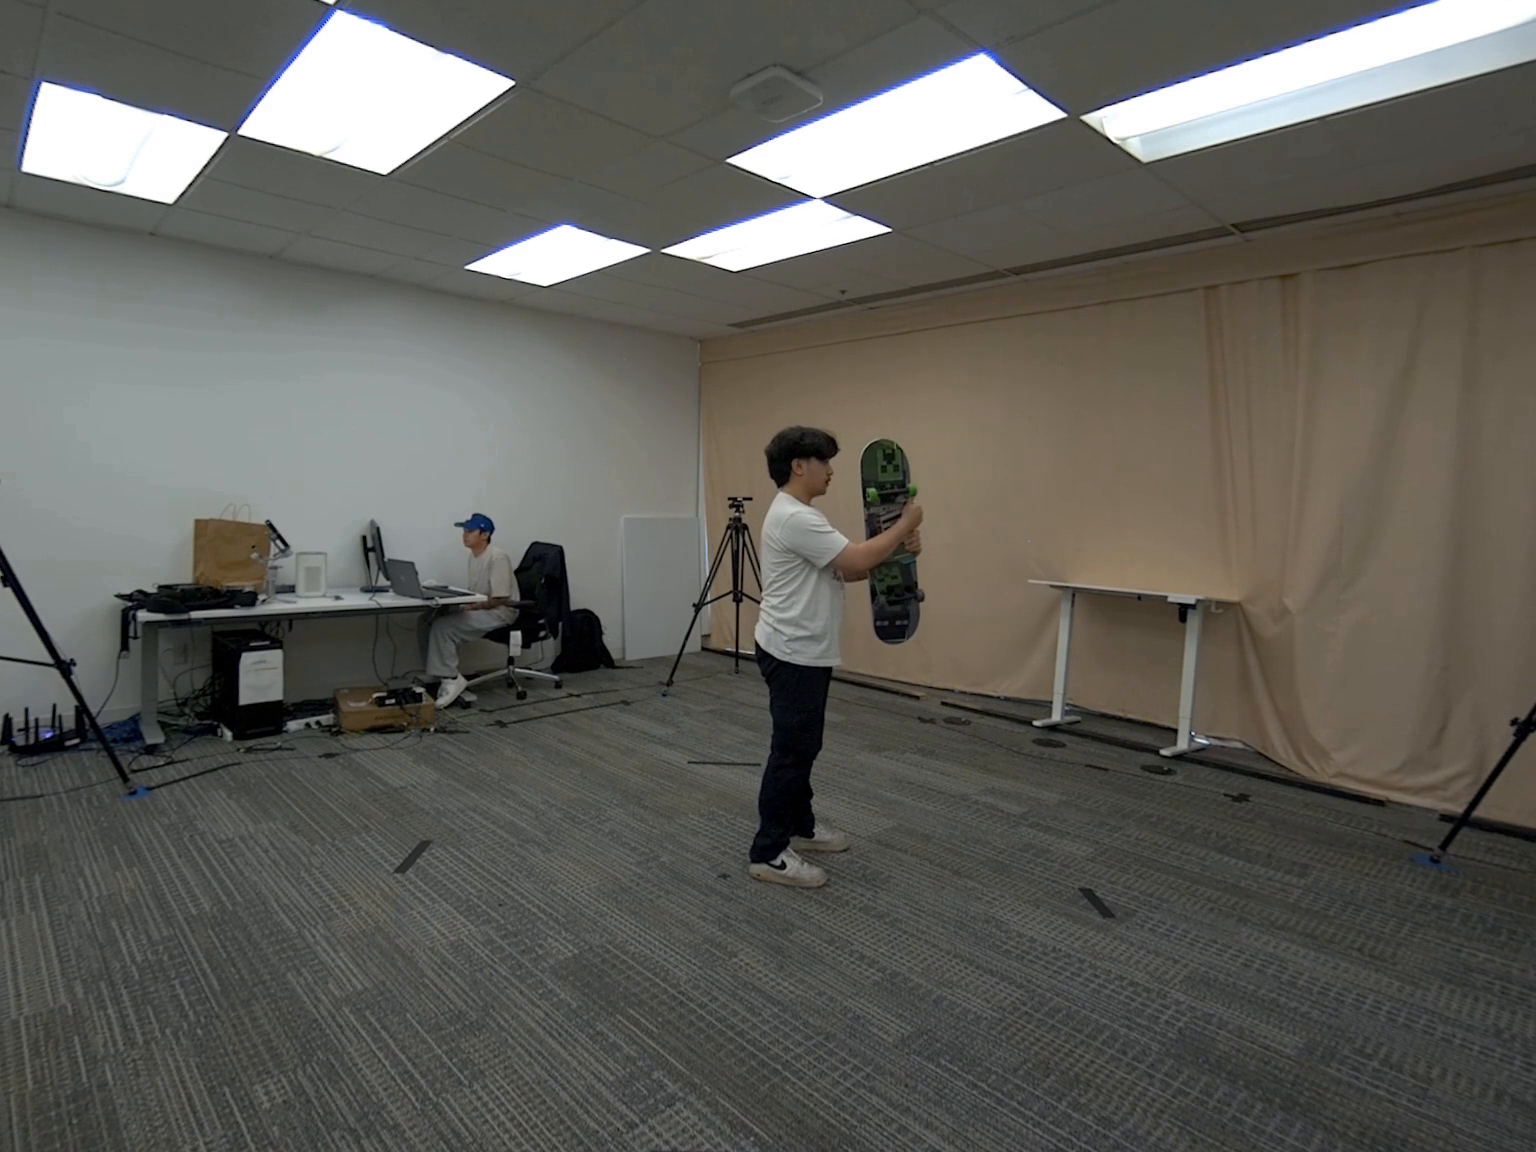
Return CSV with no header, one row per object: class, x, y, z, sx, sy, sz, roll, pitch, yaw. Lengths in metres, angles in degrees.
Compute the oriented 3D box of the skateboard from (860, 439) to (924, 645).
skateboard,0.456,-0.114,3.135,0.192,0.779,0.112,-7,9,-8
